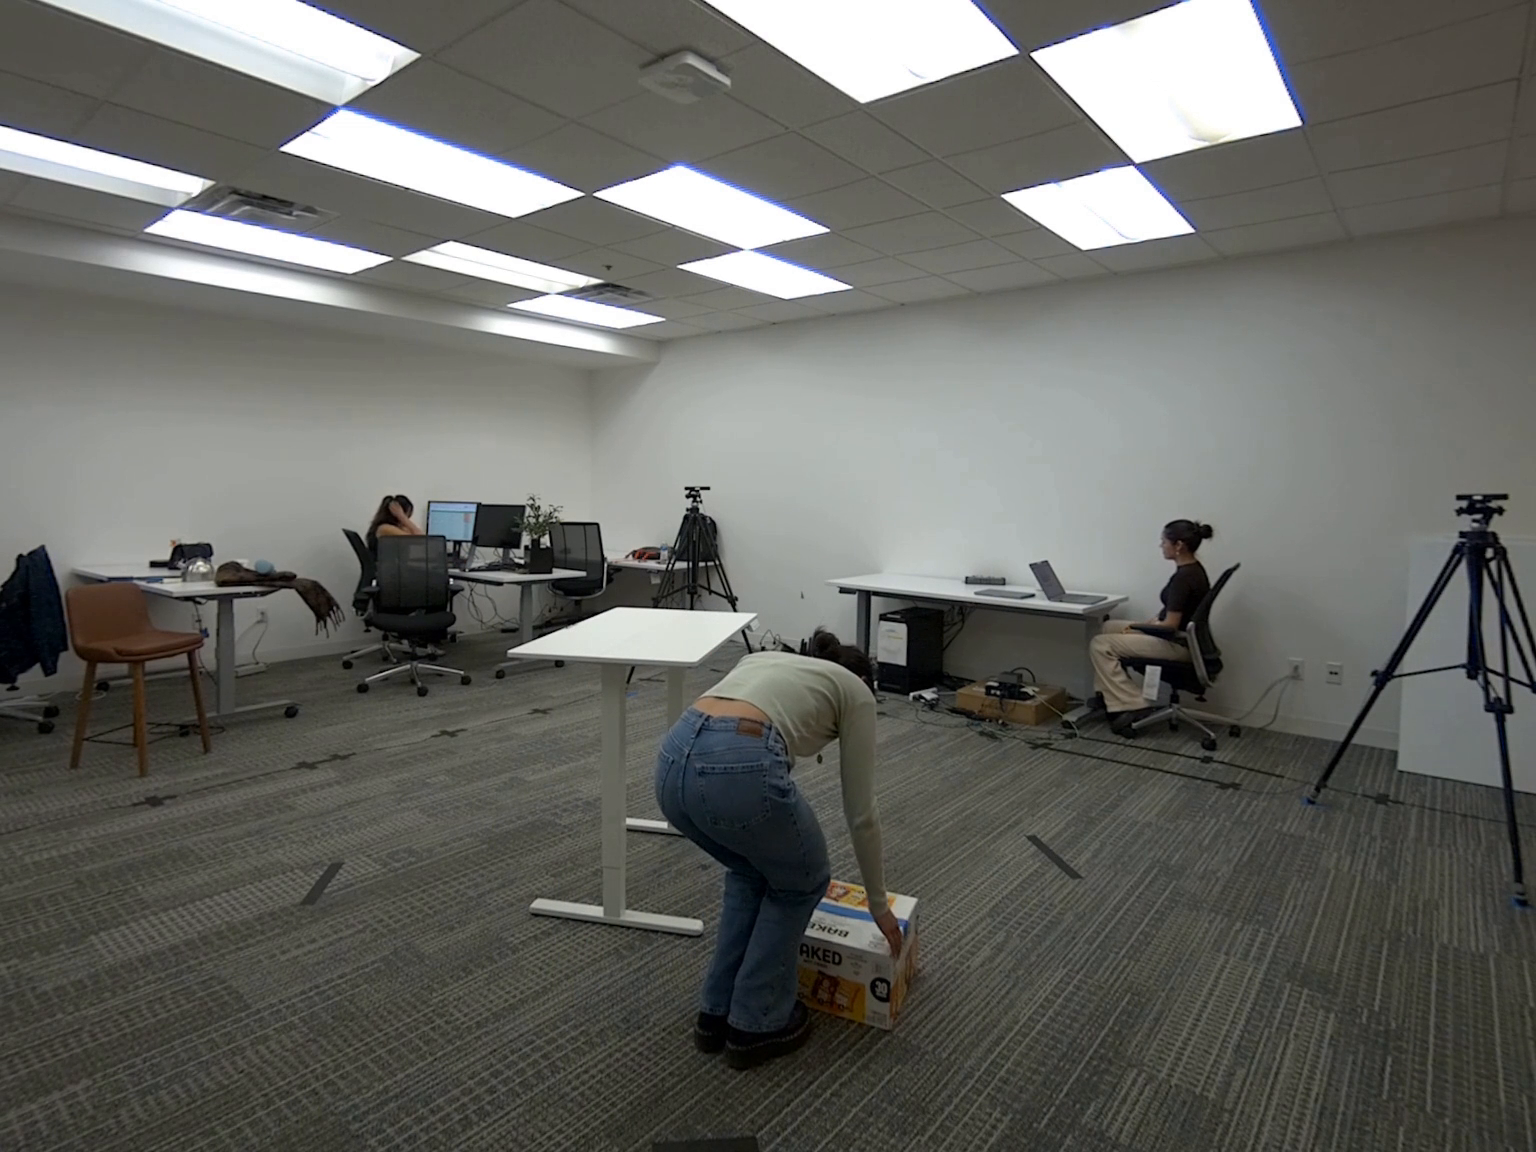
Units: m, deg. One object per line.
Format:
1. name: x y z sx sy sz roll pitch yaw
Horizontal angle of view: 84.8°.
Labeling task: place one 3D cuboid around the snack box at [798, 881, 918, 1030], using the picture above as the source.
1. snack box: 0.183 1.039 2.410 0.415 0.205 0.333 3 5 24
